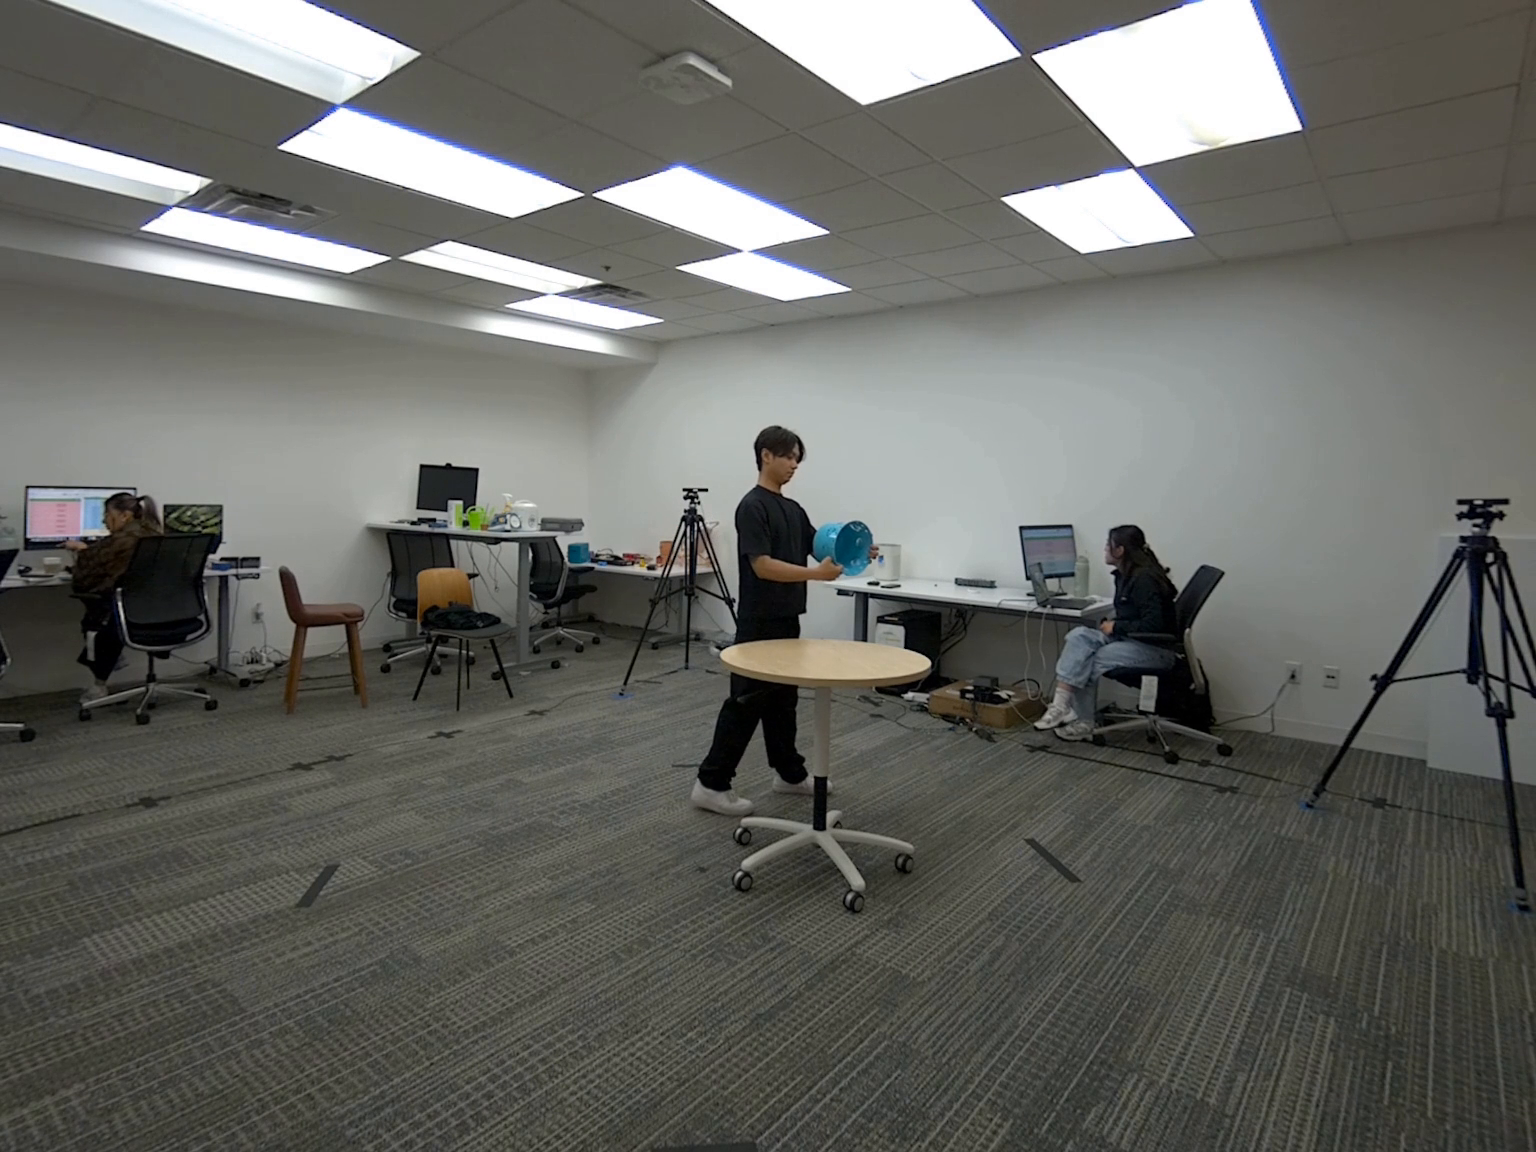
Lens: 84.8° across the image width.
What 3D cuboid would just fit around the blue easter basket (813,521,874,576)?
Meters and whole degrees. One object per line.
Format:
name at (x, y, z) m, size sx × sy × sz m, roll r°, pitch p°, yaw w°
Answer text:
blue easter basket at (0.296, -0.123, 3.591) m, size 0.236 × 0.242 × 0.161 m, roll -2°, pitch 8°, yaw -37°
